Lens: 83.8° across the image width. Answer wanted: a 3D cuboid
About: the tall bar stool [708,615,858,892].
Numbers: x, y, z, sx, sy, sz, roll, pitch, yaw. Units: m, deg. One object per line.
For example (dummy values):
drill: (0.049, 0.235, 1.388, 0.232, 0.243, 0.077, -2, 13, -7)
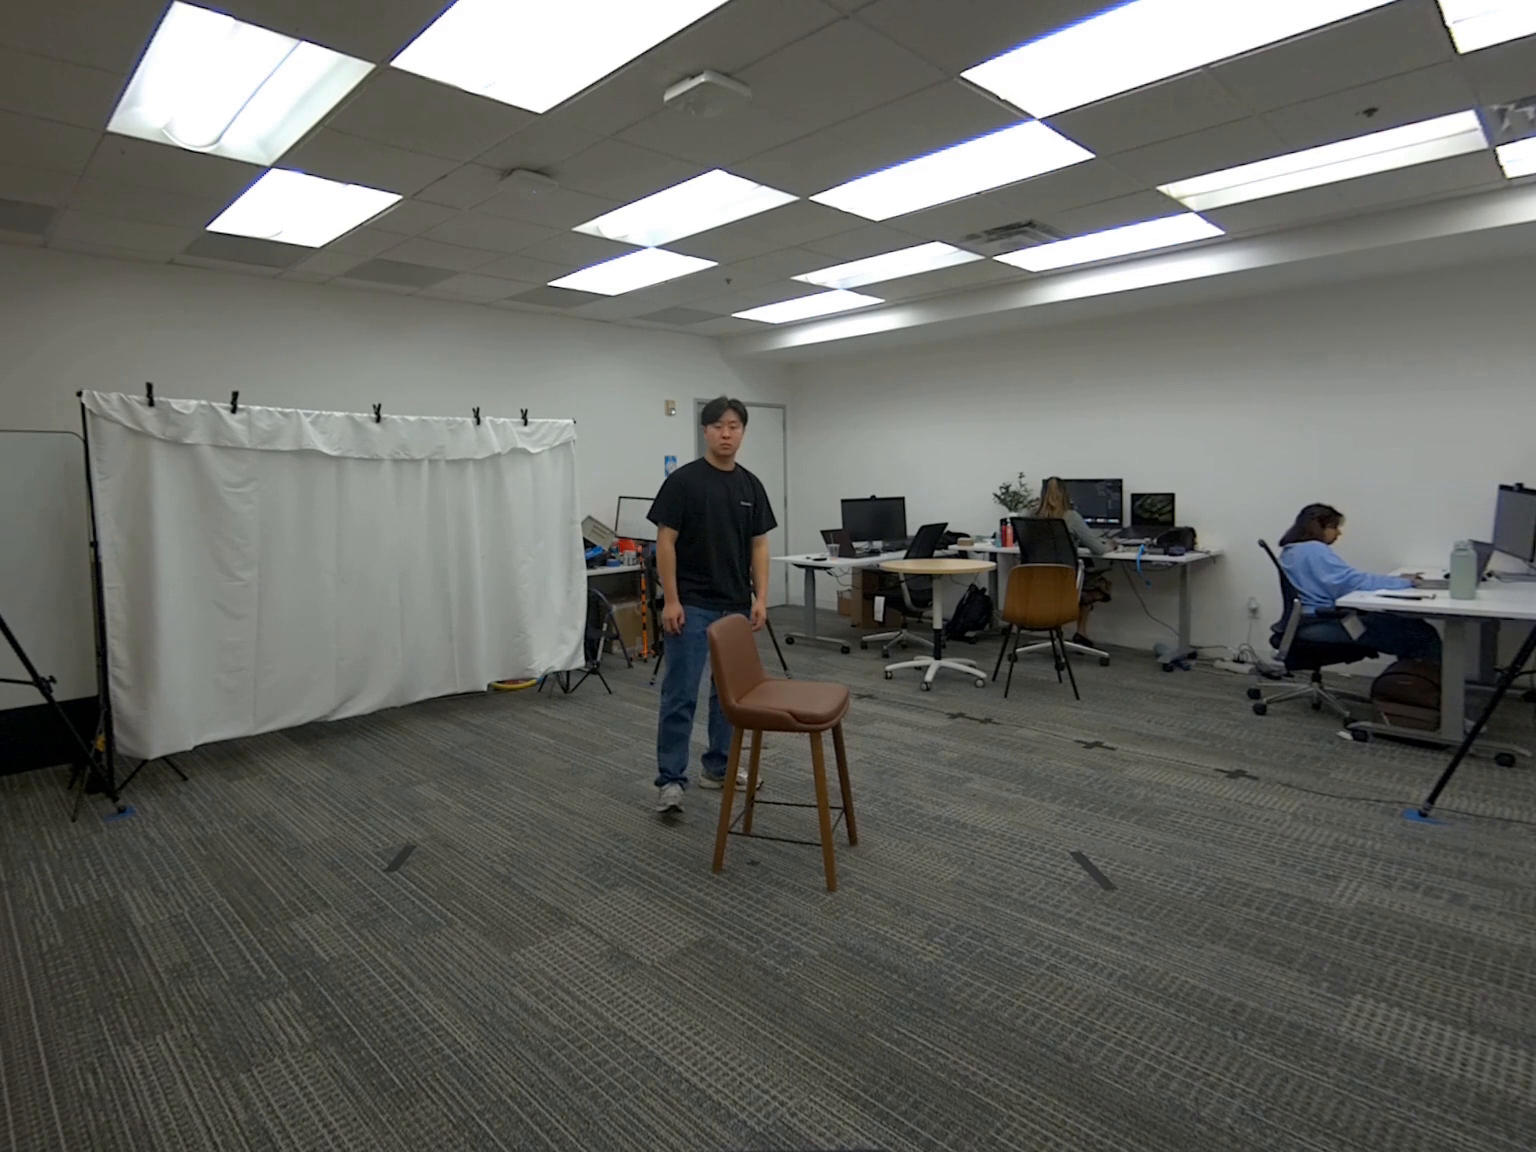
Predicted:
tall bar stool: (0.059, 0.607, 3.117, 0.476, 0.887, 0.449, -1, 3, 20)
